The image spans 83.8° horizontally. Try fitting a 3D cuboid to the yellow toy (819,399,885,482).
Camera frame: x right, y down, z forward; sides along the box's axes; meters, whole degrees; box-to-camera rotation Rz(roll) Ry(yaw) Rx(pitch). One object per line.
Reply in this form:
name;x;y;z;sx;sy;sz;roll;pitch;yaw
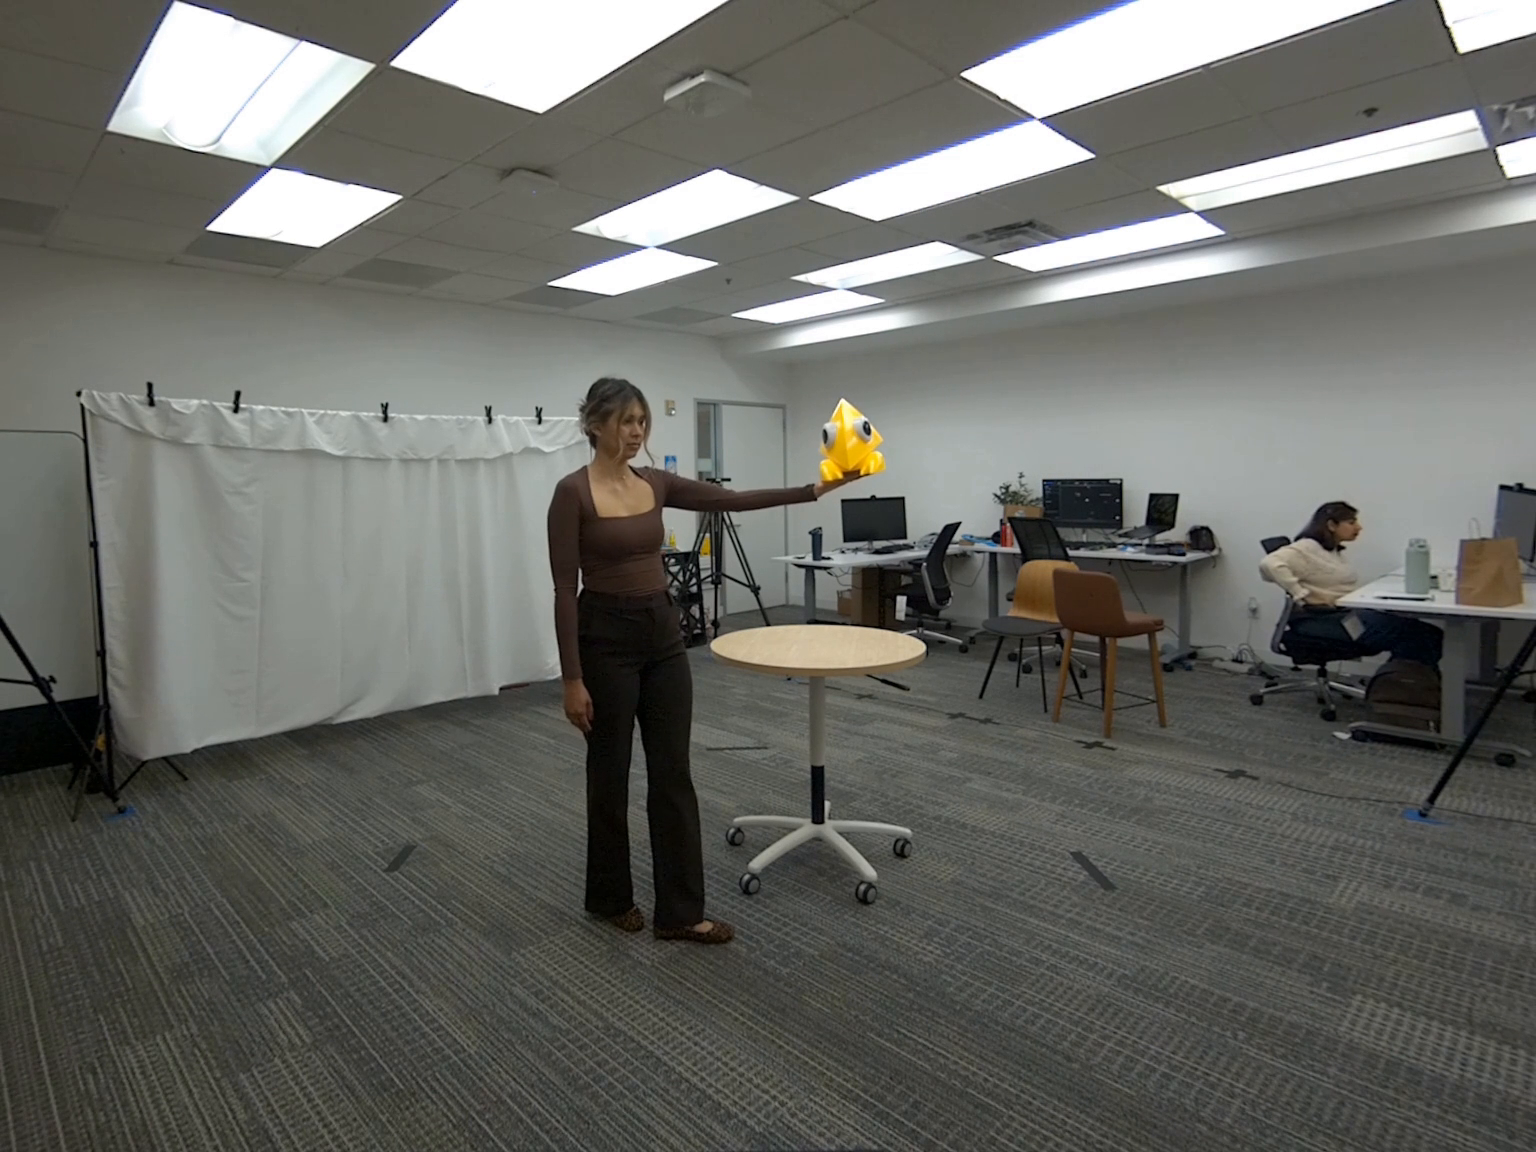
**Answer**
yellow toy;0.244;-0.428;2.615;0.207;0.229;0.192;-8;9;13
